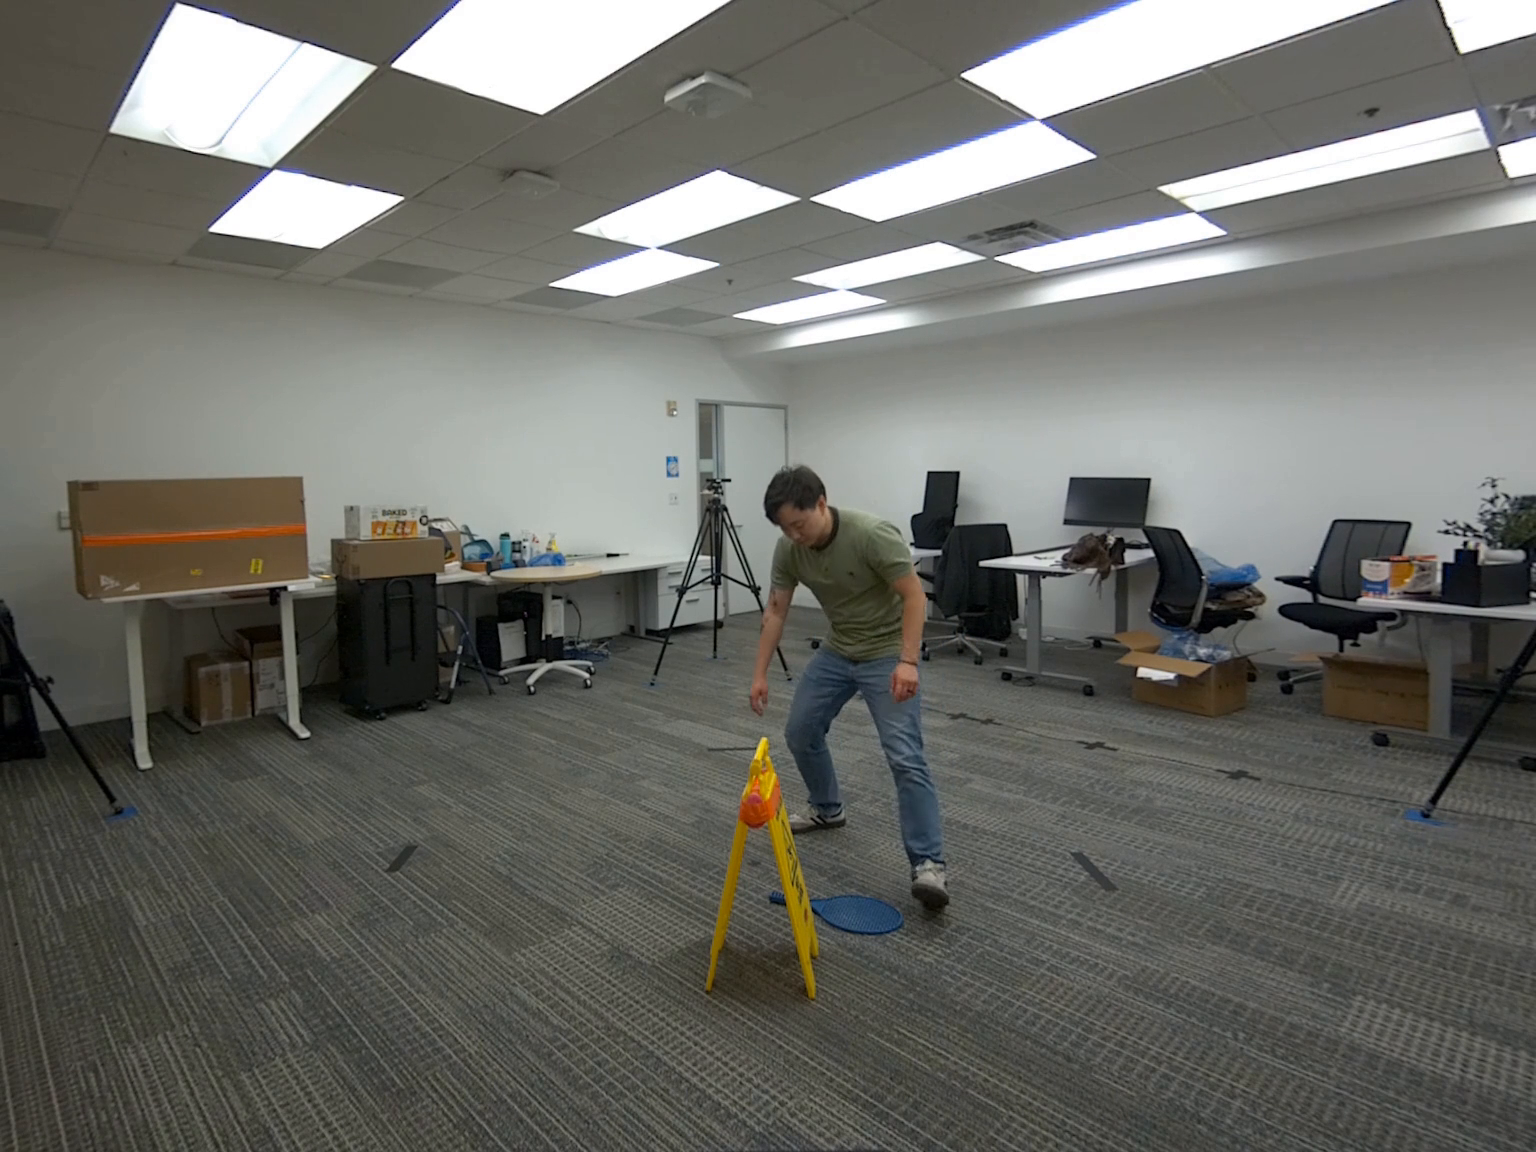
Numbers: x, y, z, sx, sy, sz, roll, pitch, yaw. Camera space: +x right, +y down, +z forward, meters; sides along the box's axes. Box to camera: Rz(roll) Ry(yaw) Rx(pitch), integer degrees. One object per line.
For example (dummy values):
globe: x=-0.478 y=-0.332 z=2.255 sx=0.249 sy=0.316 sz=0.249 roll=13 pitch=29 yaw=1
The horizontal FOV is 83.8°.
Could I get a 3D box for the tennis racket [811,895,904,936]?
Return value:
tennis racket: x=0.212 y=1.070 z=2.744 sx=0.441 sy=0.031 sz=0.211 roll=3 pitch=7 yaw=18
